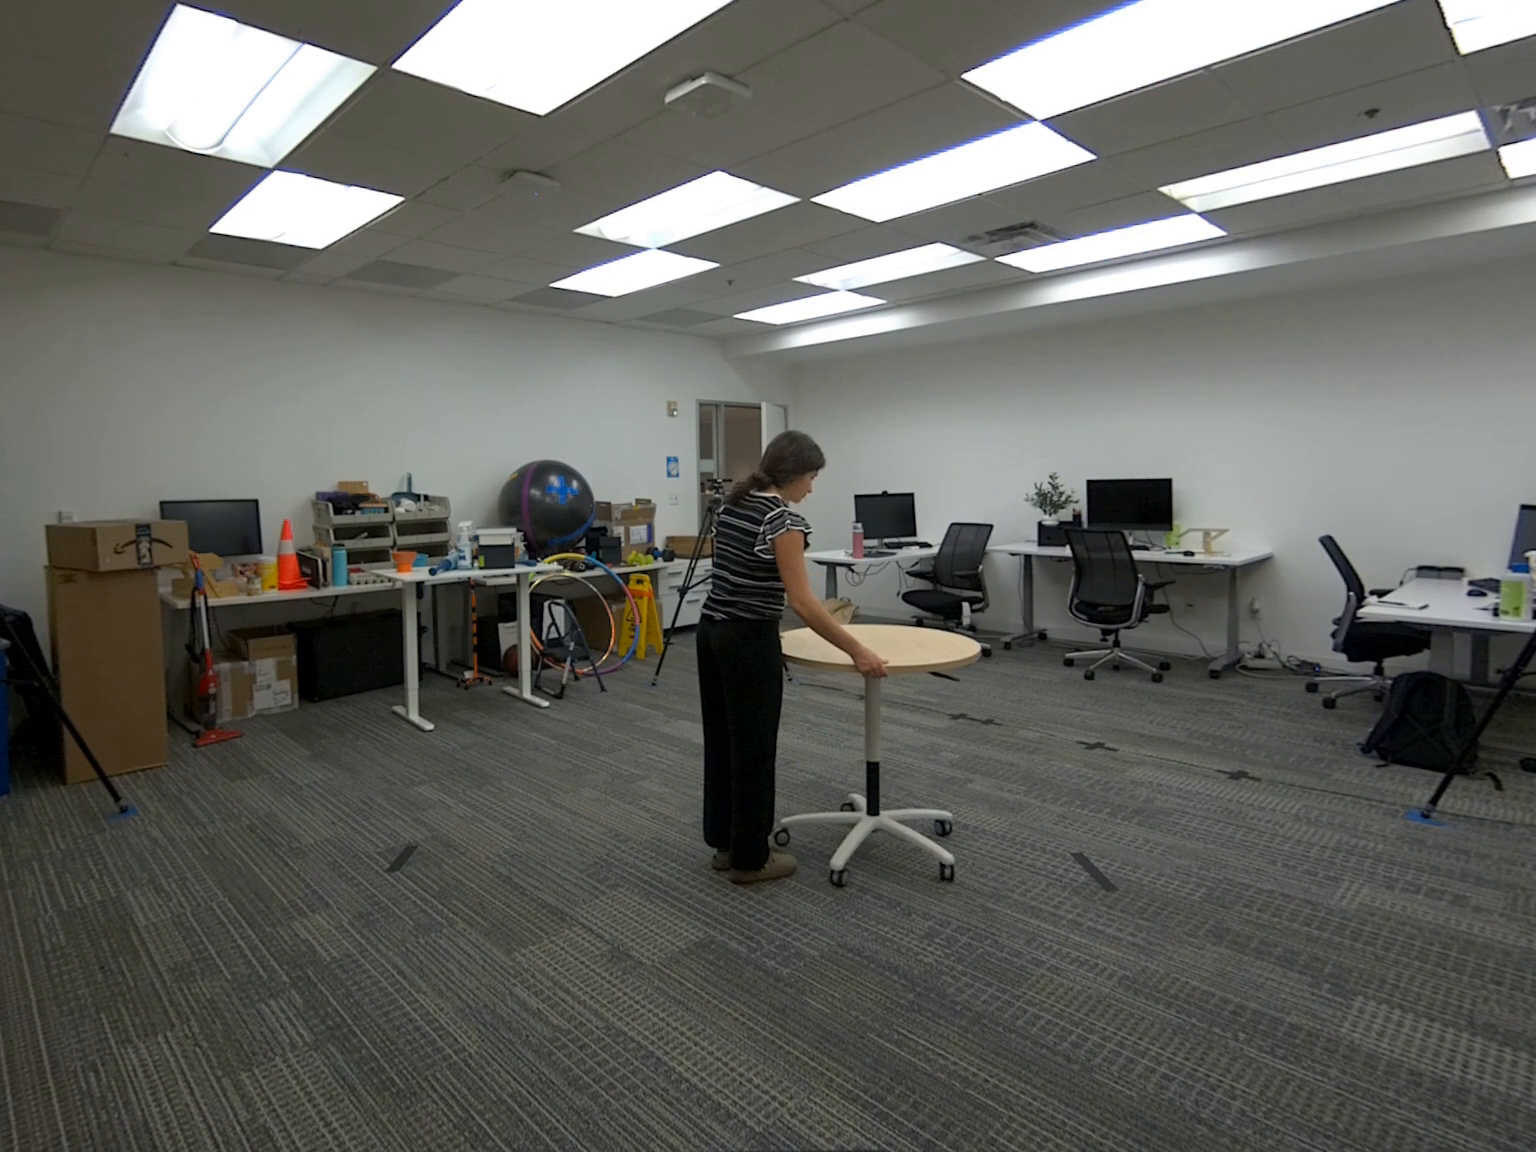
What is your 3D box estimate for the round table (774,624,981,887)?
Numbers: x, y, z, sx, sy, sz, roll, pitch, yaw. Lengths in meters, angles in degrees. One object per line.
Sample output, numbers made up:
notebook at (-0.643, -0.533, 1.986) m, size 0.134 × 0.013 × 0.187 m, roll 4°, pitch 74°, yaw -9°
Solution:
round table at (0.376, 0.636, 3.166) m, size 0.784 × 0.783 × 0.789 m, roll -1°, pitch 5°, yaw -2°
